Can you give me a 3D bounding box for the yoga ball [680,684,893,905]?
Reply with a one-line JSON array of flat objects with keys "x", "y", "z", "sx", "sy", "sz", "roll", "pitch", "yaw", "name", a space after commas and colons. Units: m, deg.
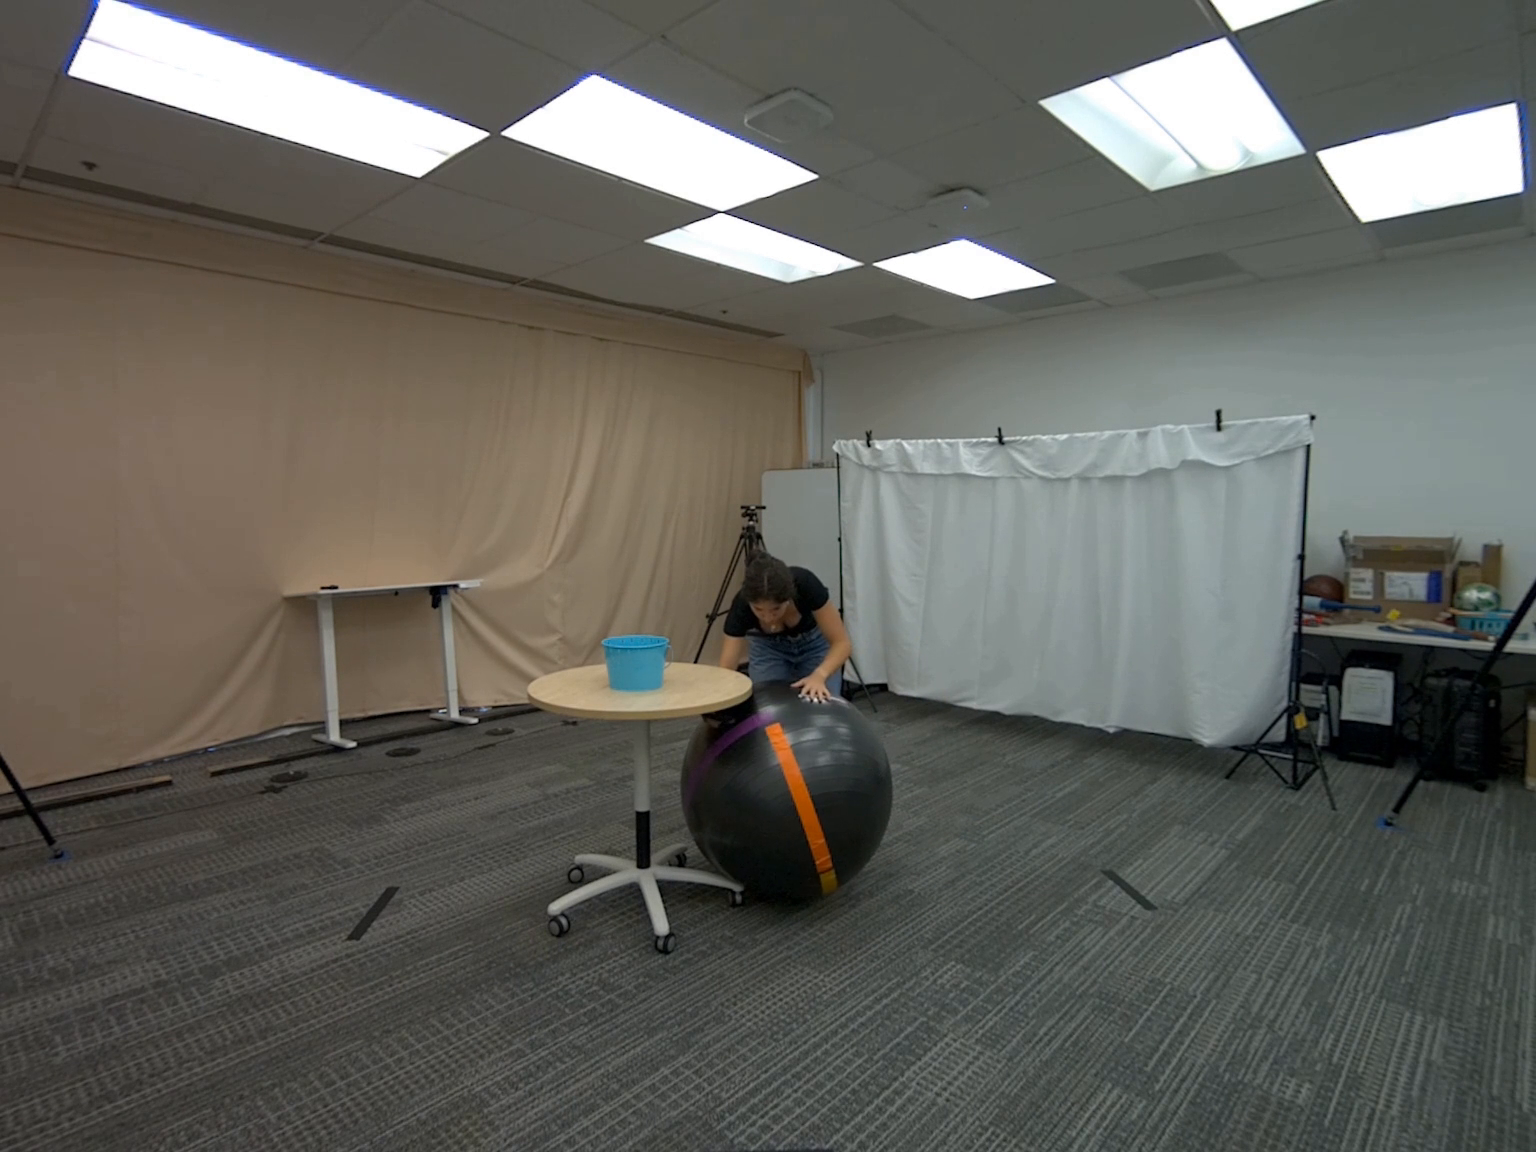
[{"x": 0.073, "y": 0.762, "z": 3.018, "sx": 0.757, "sy": 0.756, "sz": 0.760, "roll": 0, "pitch": 4, "yaw": -2, "name": "yoga ball"}]
